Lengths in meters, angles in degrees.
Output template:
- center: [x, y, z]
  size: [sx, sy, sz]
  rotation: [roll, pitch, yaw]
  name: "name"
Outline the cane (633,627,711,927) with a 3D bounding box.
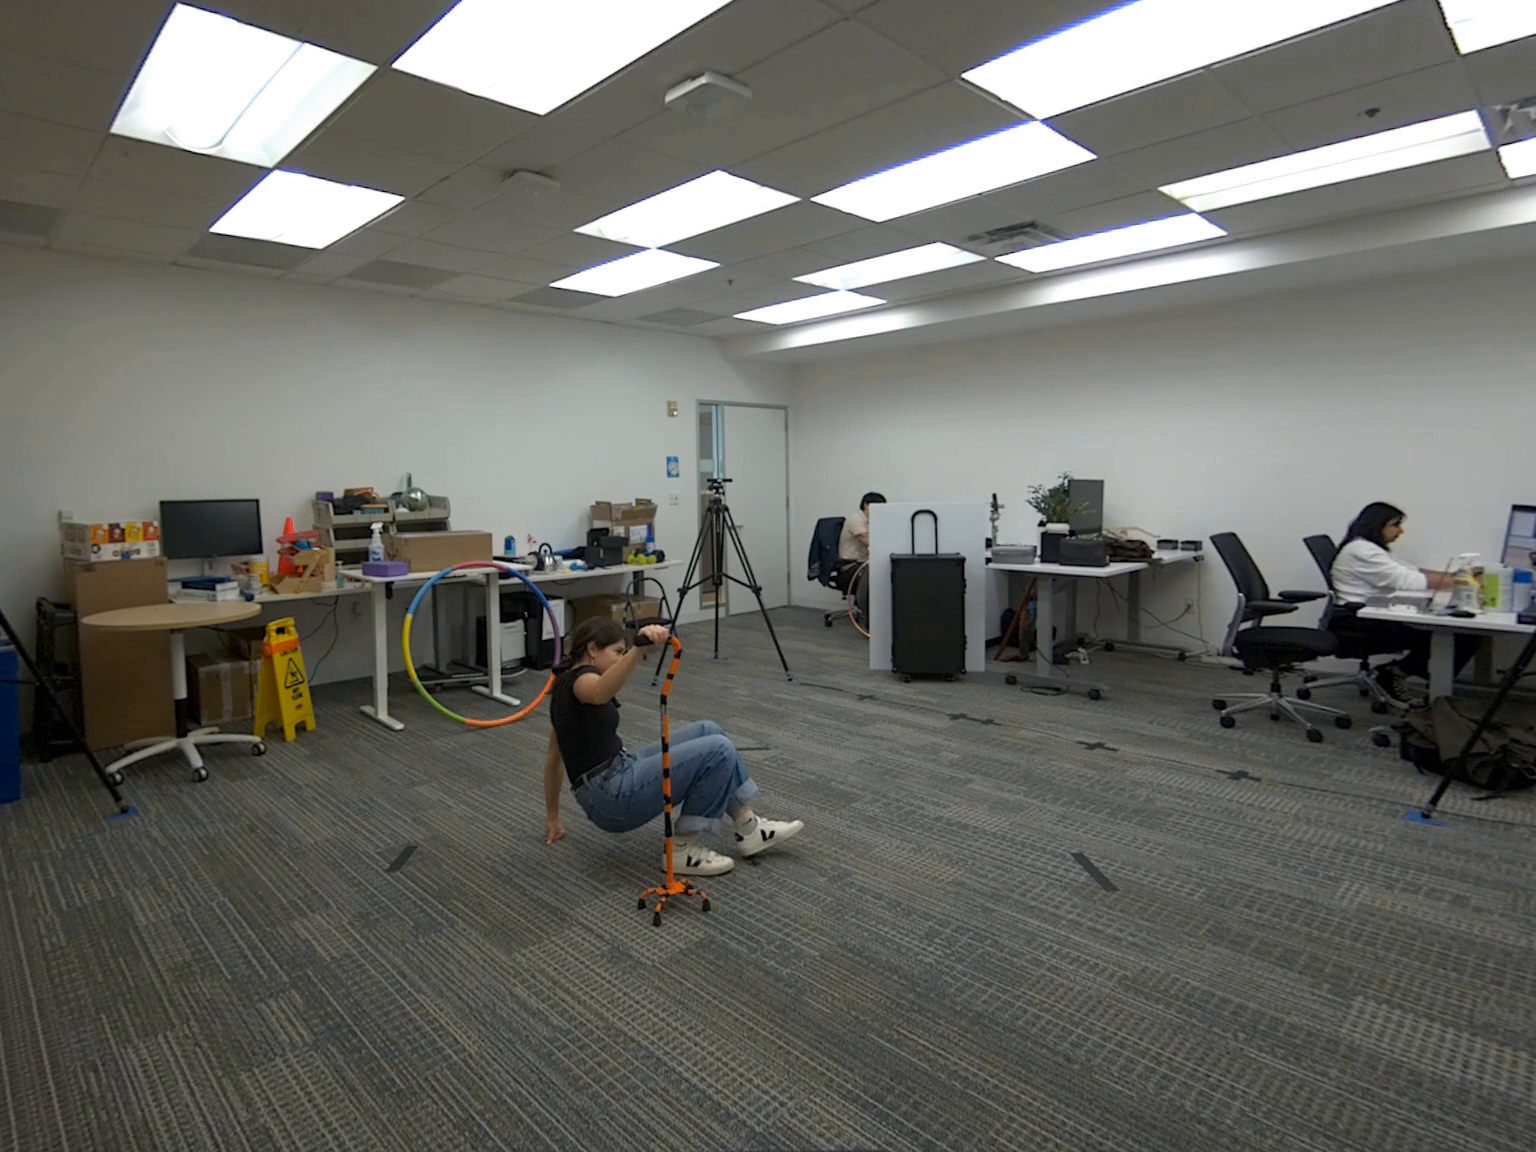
- center: [-0.316, 0.635, 2.762]
  size: [0.201, 0.905, 0.156]
  rotation: [-4, 4, -31]
  name: "cane"
